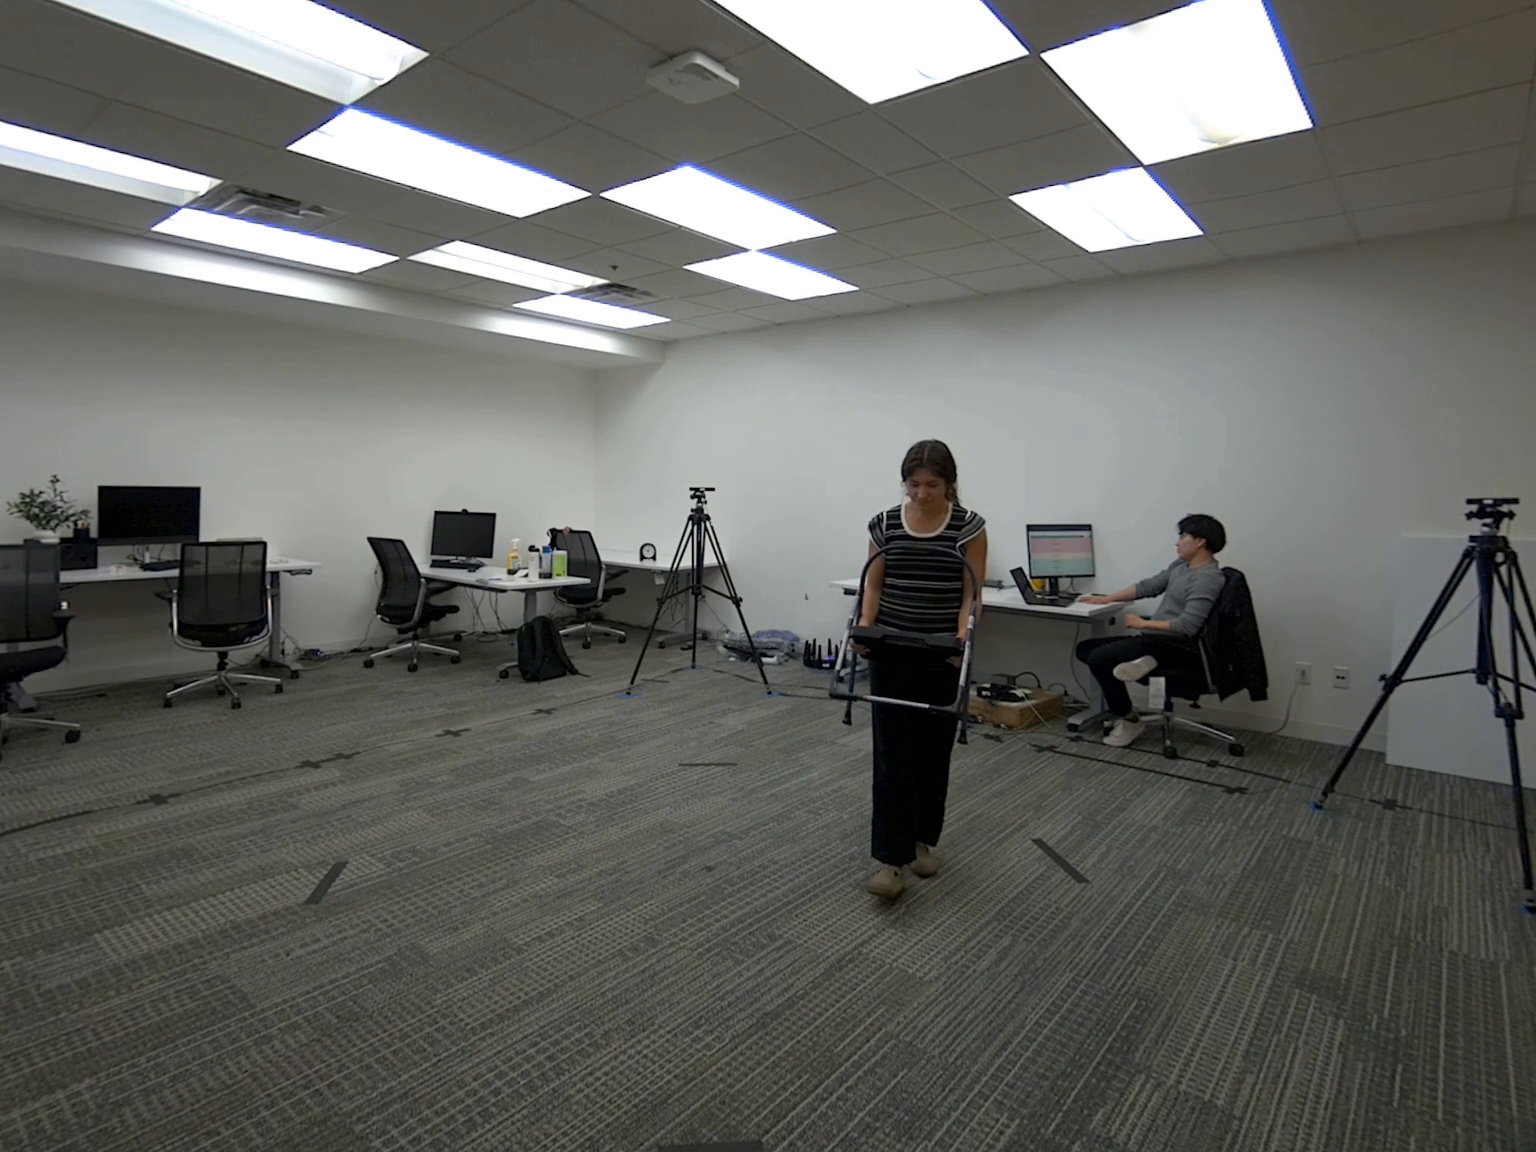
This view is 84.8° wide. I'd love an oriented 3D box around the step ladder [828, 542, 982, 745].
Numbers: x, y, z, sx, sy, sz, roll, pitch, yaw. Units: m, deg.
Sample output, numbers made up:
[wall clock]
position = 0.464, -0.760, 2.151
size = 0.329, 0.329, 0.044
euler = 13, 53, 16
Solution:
[step ladder]
position = 0.485, 0.200, 2.911
size = 0.440, 0.615, 0.337
euler = 5, -24, 19
